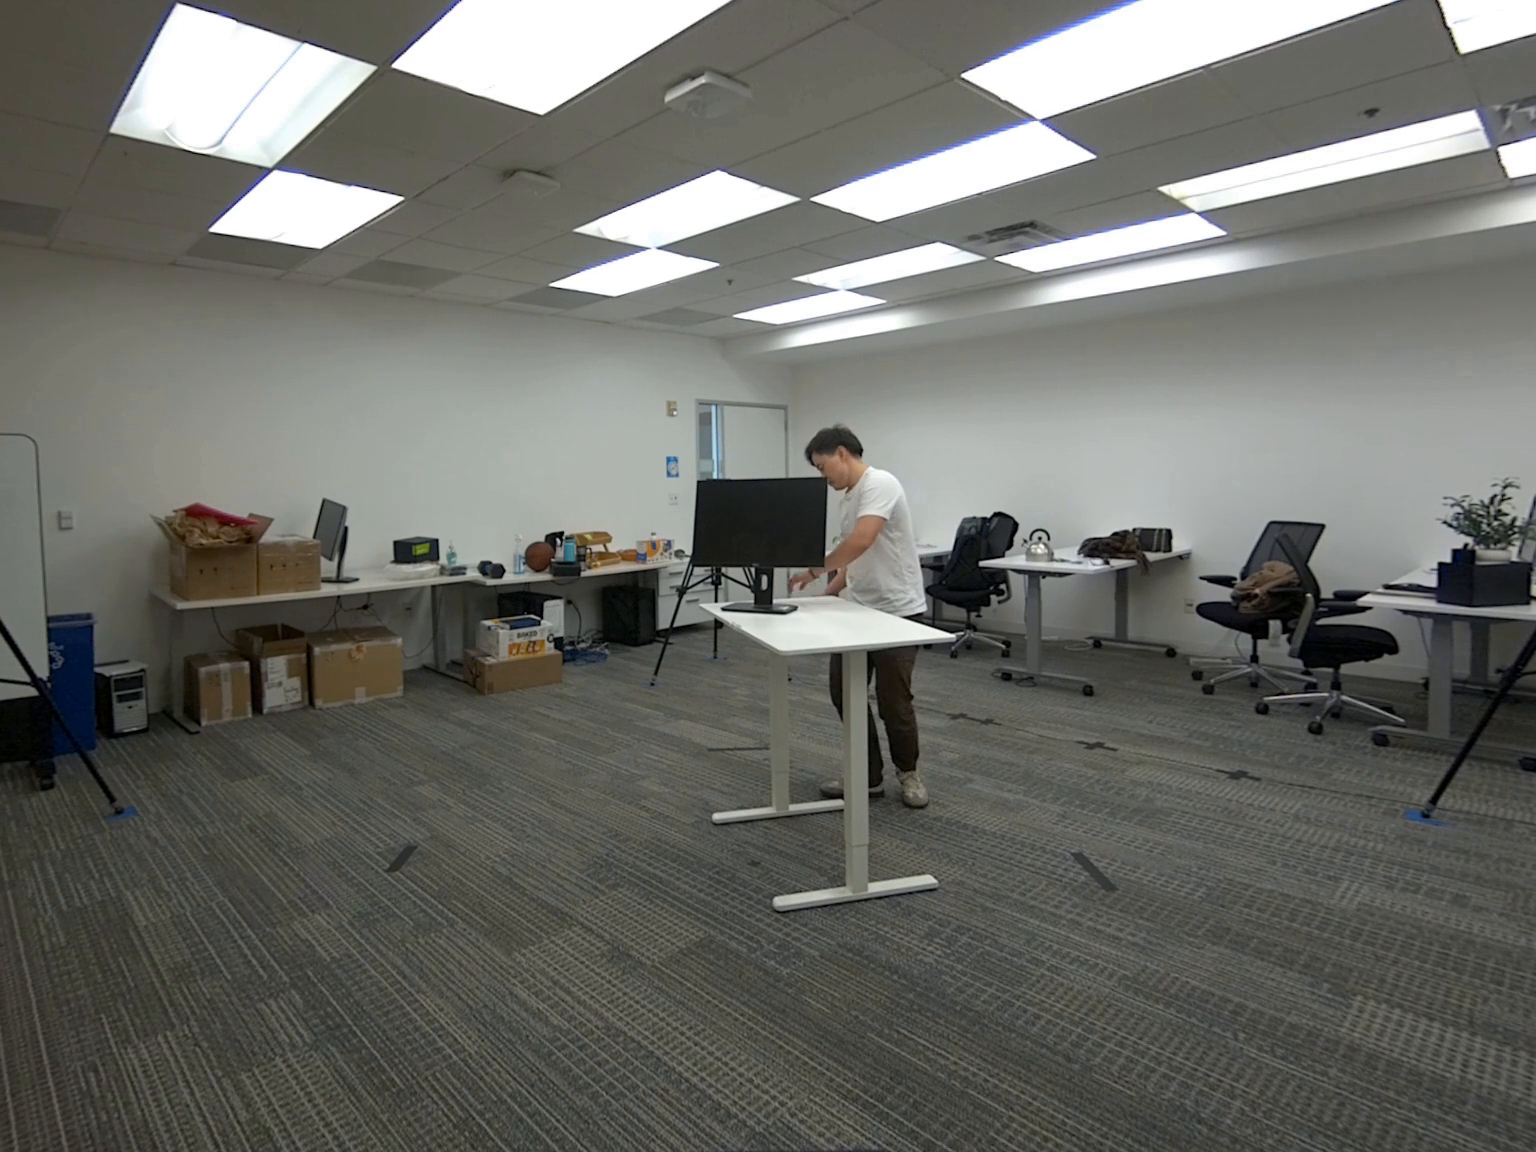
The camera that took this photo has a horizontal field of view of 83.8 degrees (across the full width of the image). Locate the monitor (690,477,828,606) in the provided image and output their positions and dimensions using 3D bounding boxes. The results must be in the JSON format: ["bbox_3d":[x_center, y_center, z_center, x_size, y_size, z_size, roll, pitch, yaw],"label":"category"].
[{"bbox_3d":[-0.025,-0.121,3.351,0.549,0.521,0.184,1,3,18],"label":"monitor"}]
